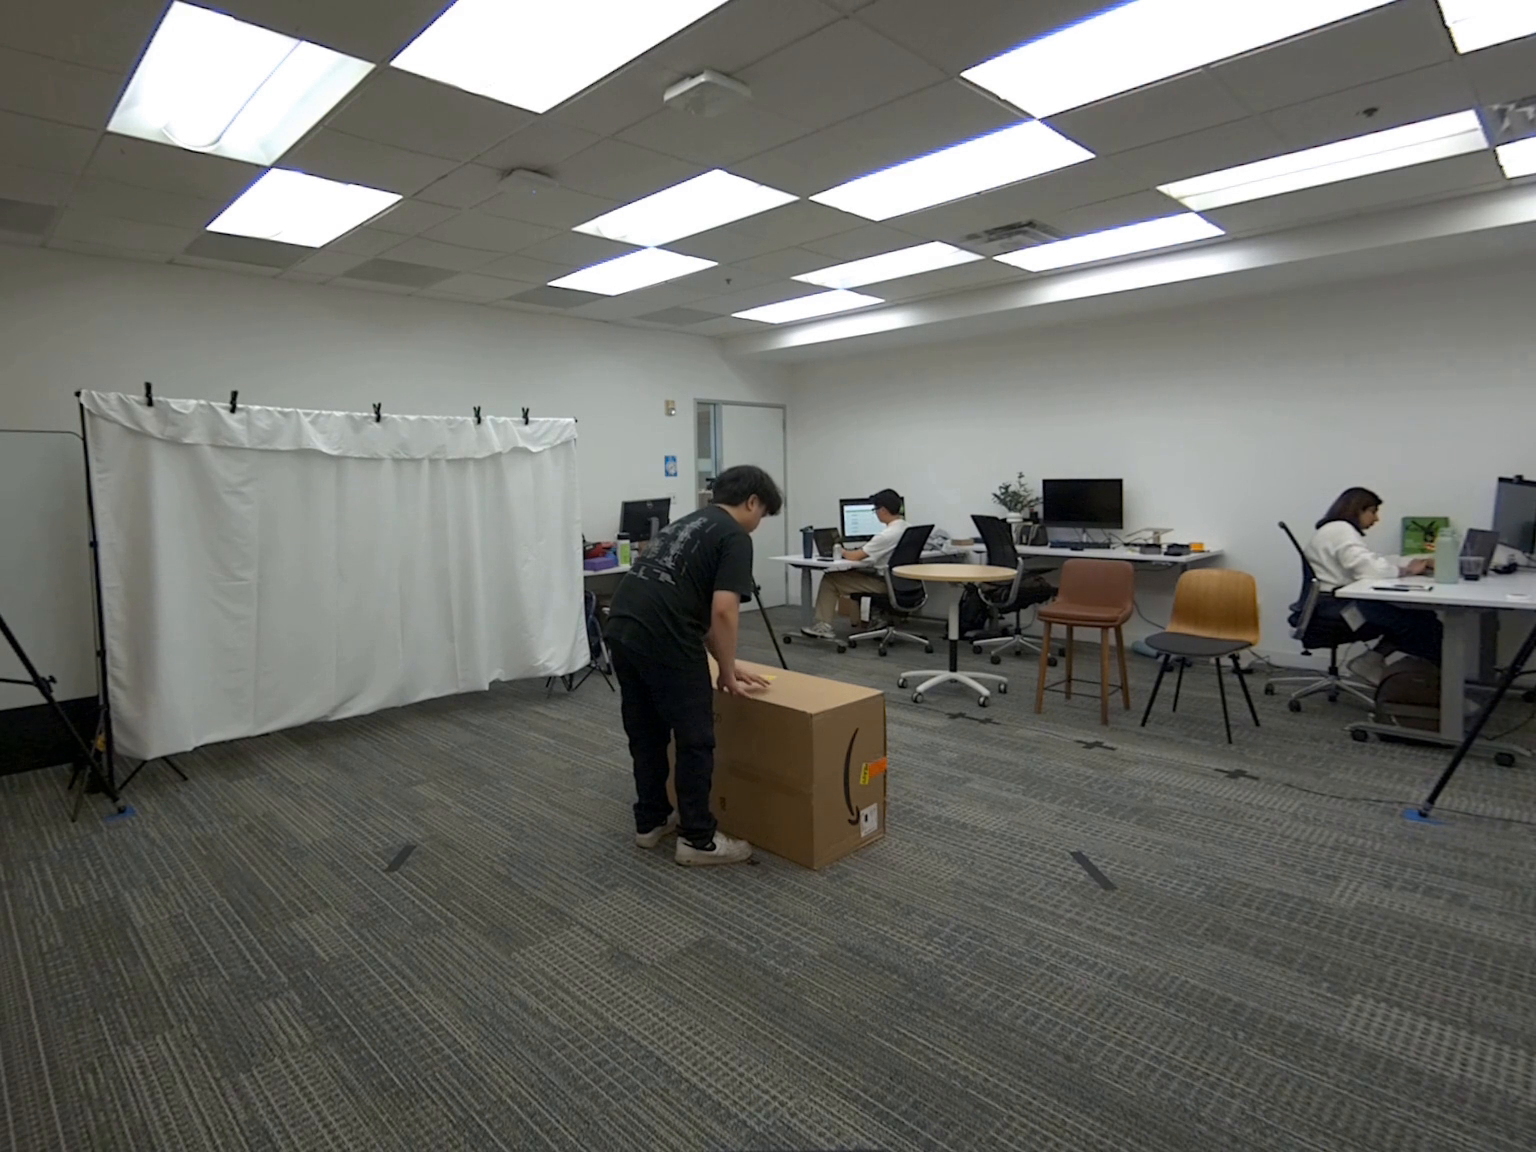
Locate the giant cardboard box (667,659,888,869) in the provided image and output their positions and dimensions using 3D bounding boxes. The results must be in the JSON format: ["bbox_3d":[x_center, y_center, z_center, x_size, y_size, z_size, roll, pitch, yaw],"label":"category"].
[{"bbox_3d":[-0.057,0.707,3.530,0.435,0.582,1.059,-4,7,-44],"label":"giant cardboard box"}]
